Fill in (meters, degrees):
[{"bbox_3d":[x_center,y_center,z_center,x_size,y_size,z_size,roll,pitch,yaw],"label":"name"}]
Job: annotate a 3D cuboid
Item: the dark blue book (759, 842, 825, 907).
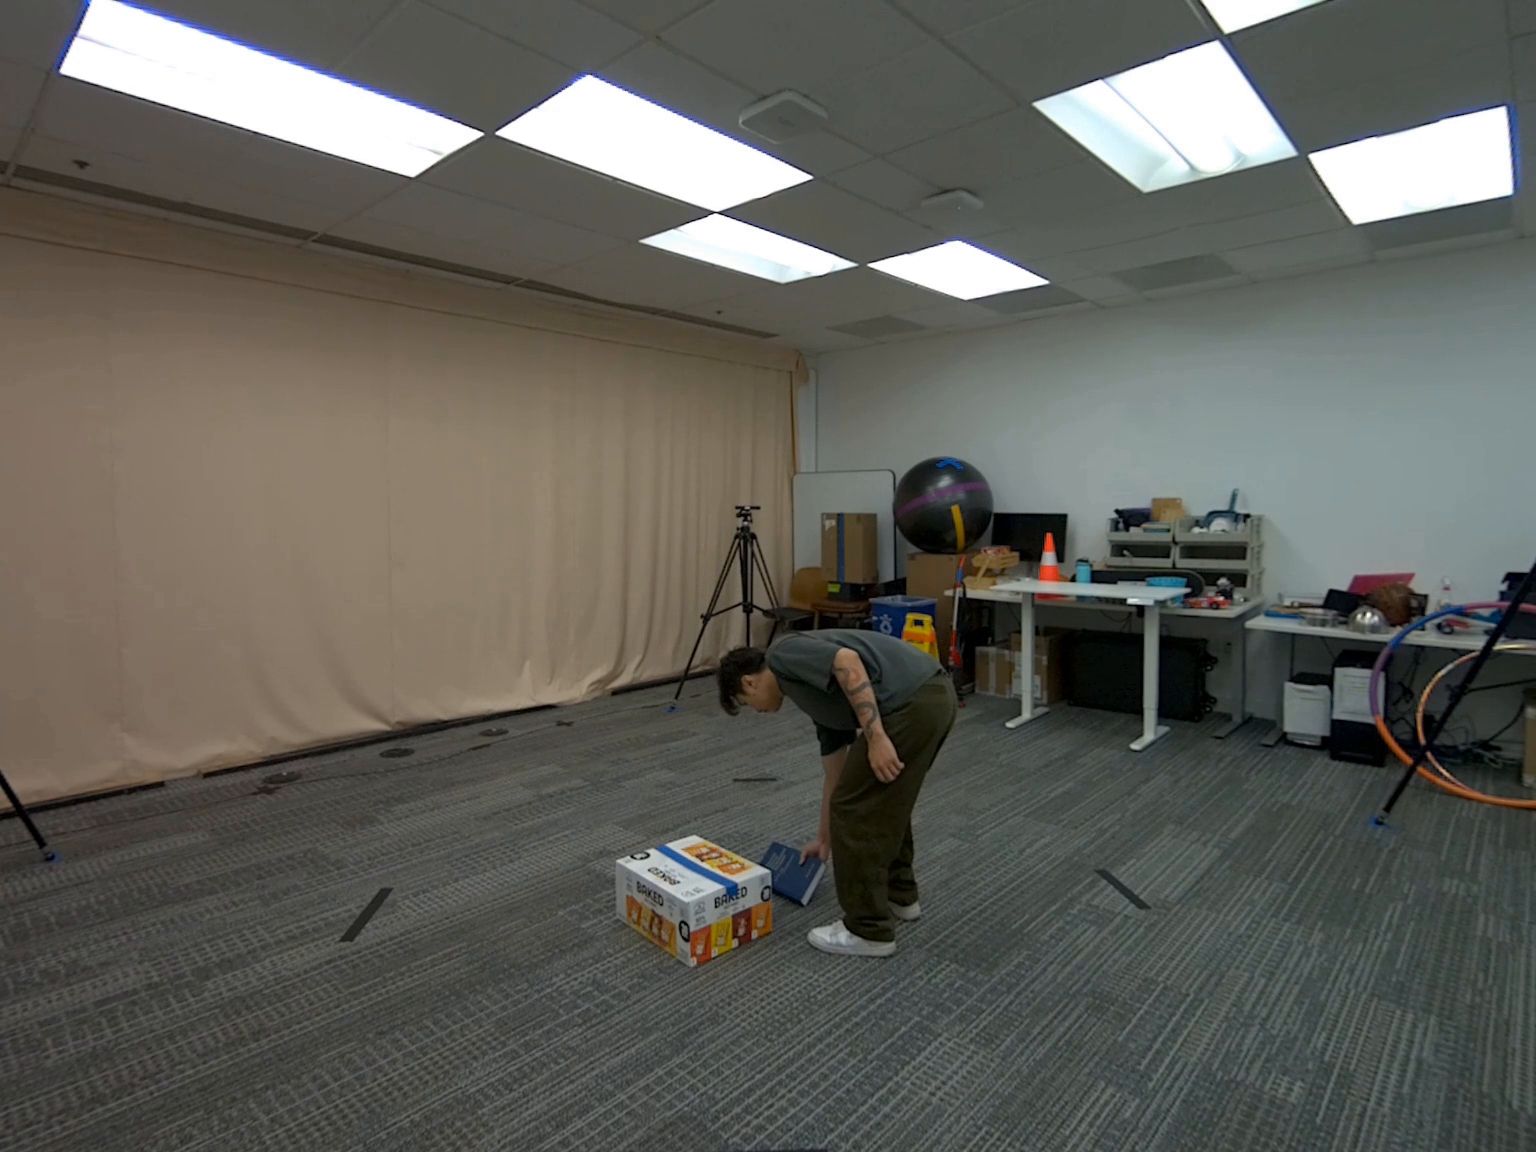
[{"bbox_3d":[0.075,1.069,3.037,0.253,0.044,0.162,7,48,48],"label":"dark blue book"}]
